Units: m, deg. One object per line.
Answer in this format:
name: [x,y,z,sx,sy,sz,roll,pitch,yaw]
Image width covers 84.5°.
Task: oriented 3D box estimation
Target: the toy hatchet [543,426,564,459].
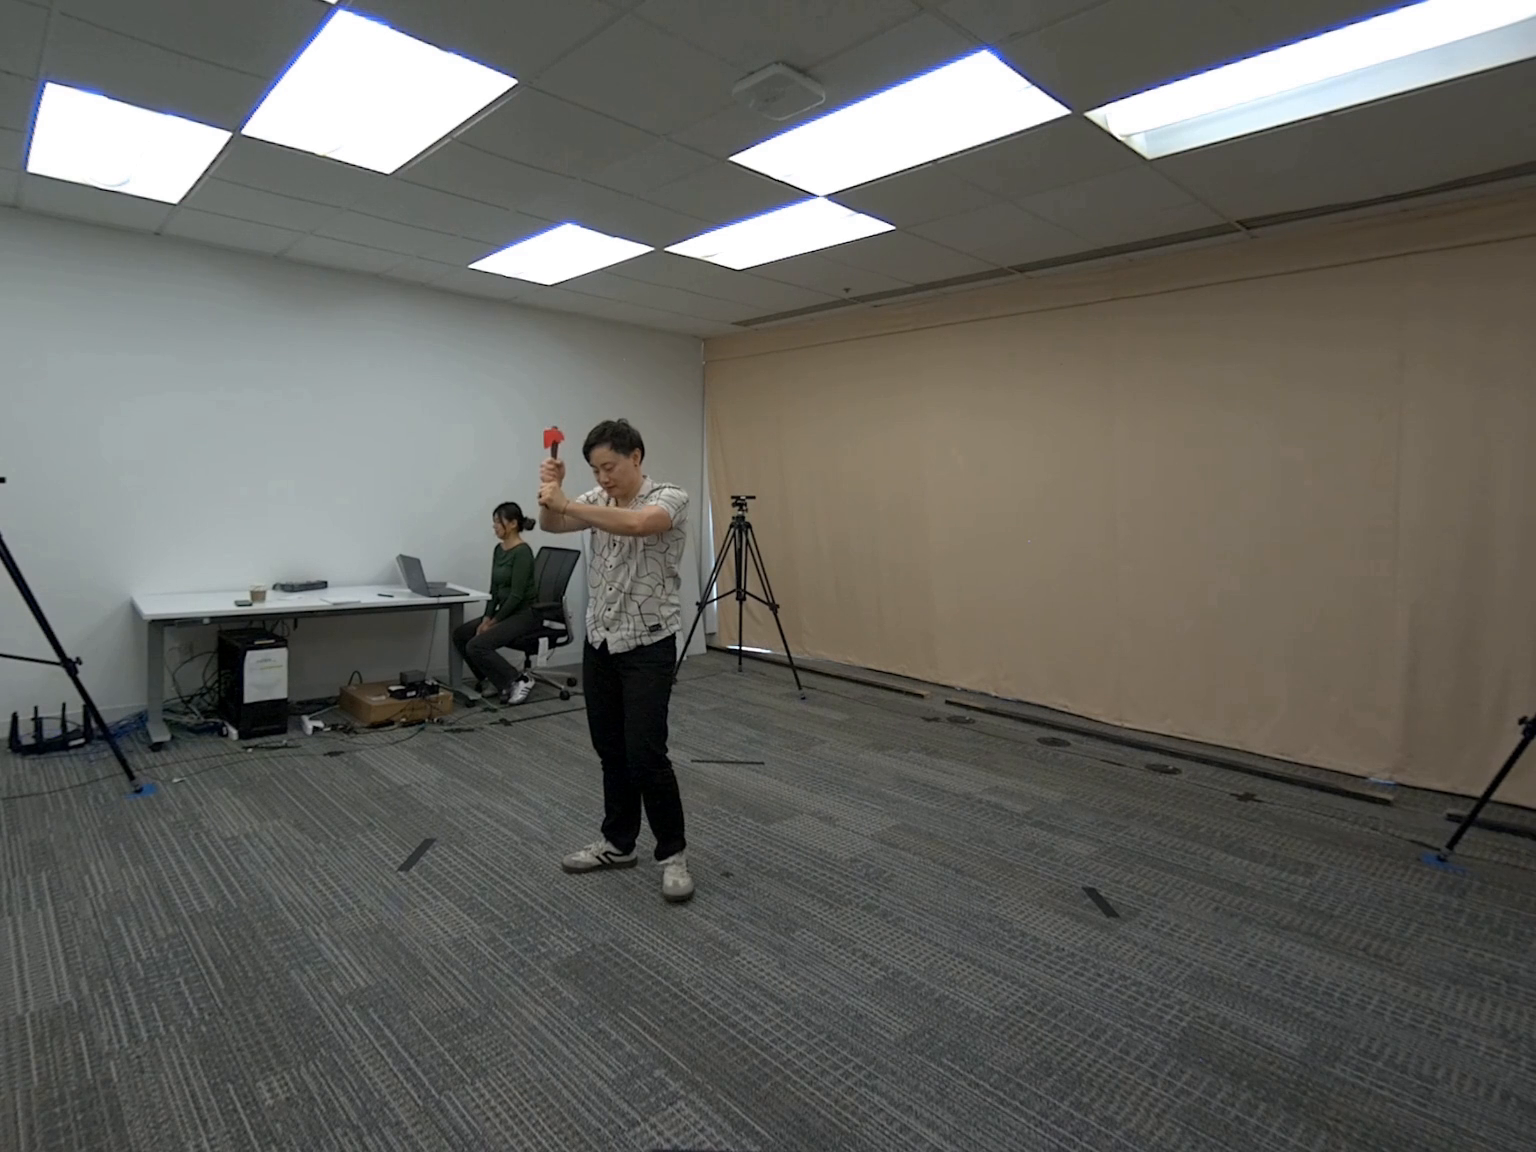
toy hatchet: [-0.719,-0.362,2.707,0.030,0.274,0.128,1,-21,7]
